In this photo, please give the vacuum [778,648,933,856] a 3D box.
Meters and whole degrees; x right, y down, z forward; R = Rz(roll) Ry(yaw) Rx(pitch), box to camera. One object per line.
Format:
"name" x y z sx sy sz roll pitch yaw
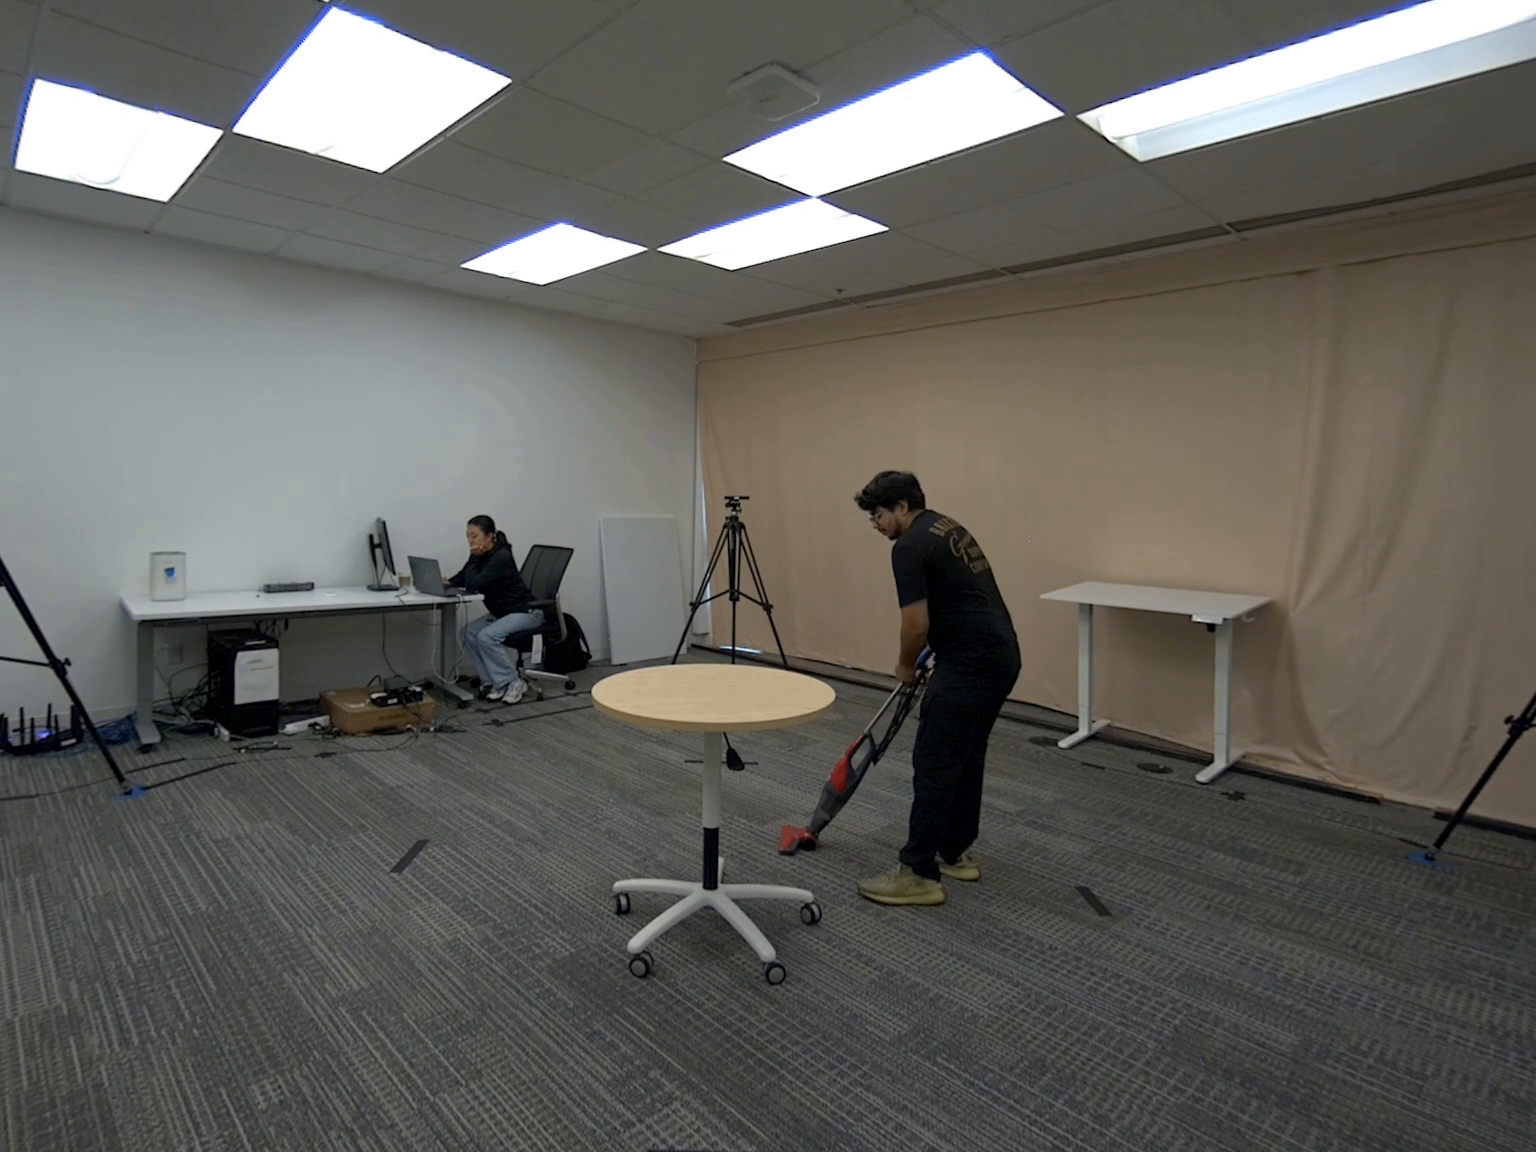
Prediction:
"vacuum" 0.408 0.653 3.350 0.144 1.048 0.253 36 7 -2
